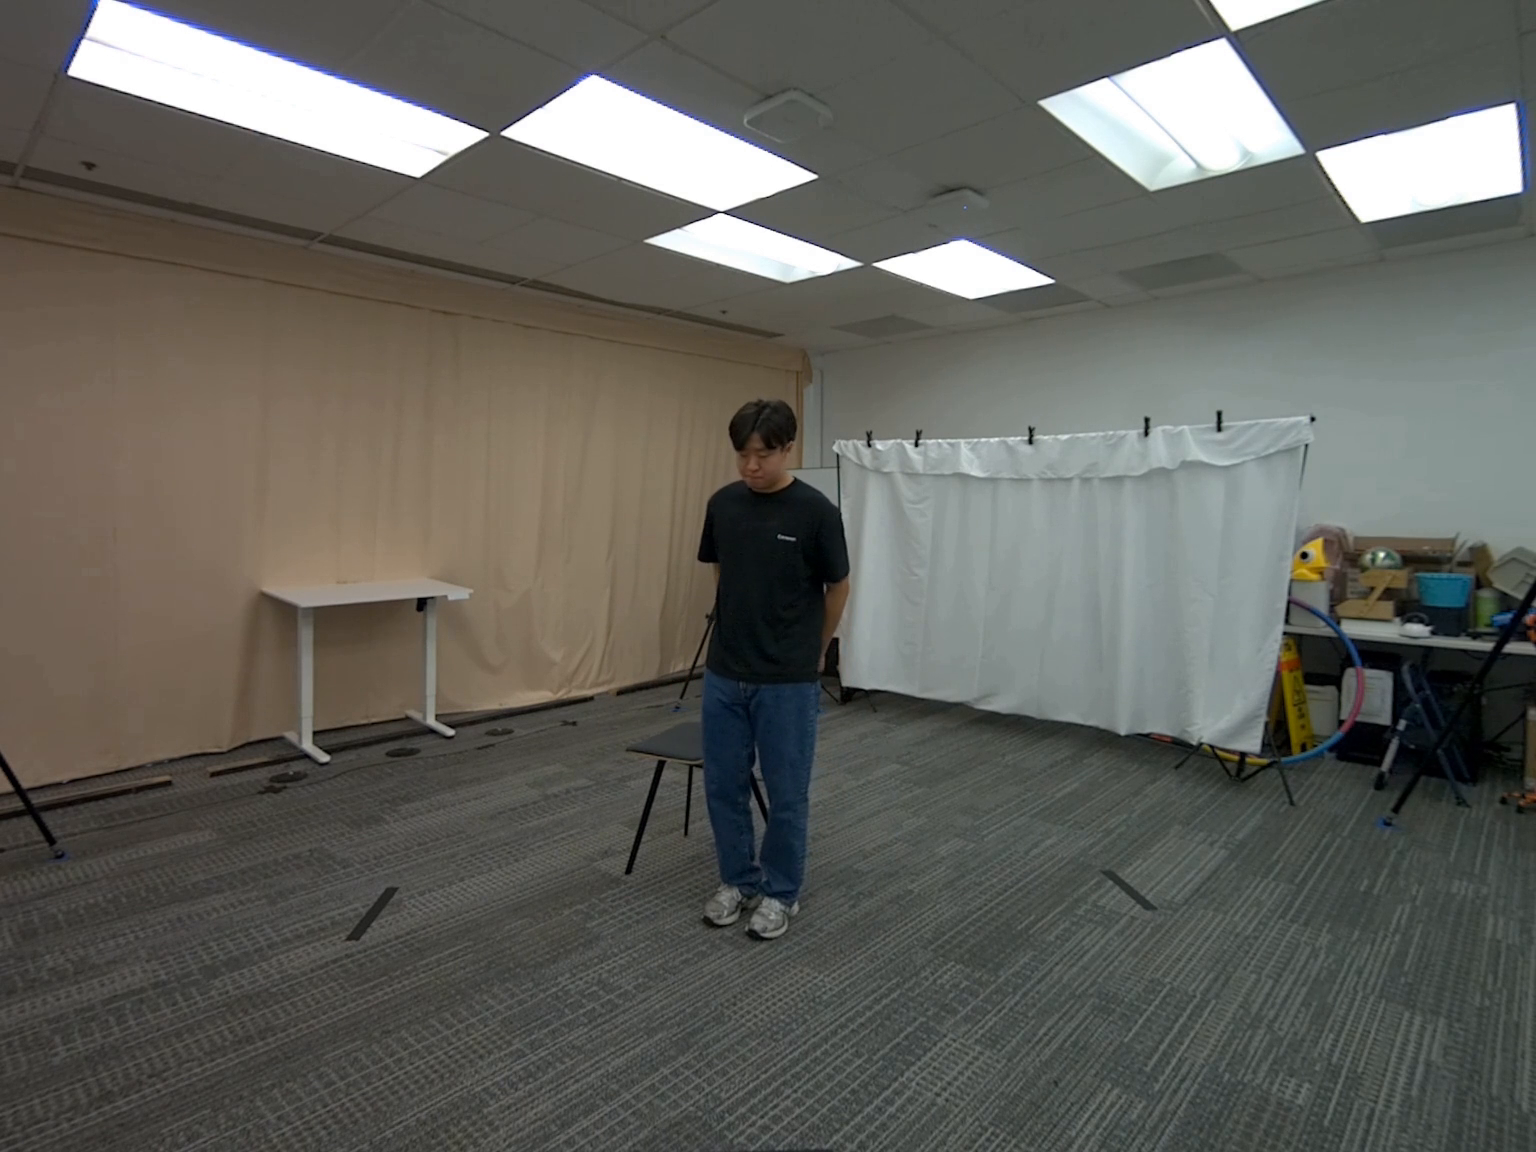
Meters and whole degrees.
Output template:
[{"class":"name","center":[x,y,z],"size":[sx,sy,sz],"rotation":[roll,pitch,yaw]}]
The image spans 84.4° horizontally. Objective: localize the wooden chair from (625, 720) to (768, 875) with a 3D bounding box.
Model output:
[{"class":"wooden chair","center":[-0.257,0.693,3.250],"size":[0.538,0.875,0.466],"rotation":[6,6,26]}]
